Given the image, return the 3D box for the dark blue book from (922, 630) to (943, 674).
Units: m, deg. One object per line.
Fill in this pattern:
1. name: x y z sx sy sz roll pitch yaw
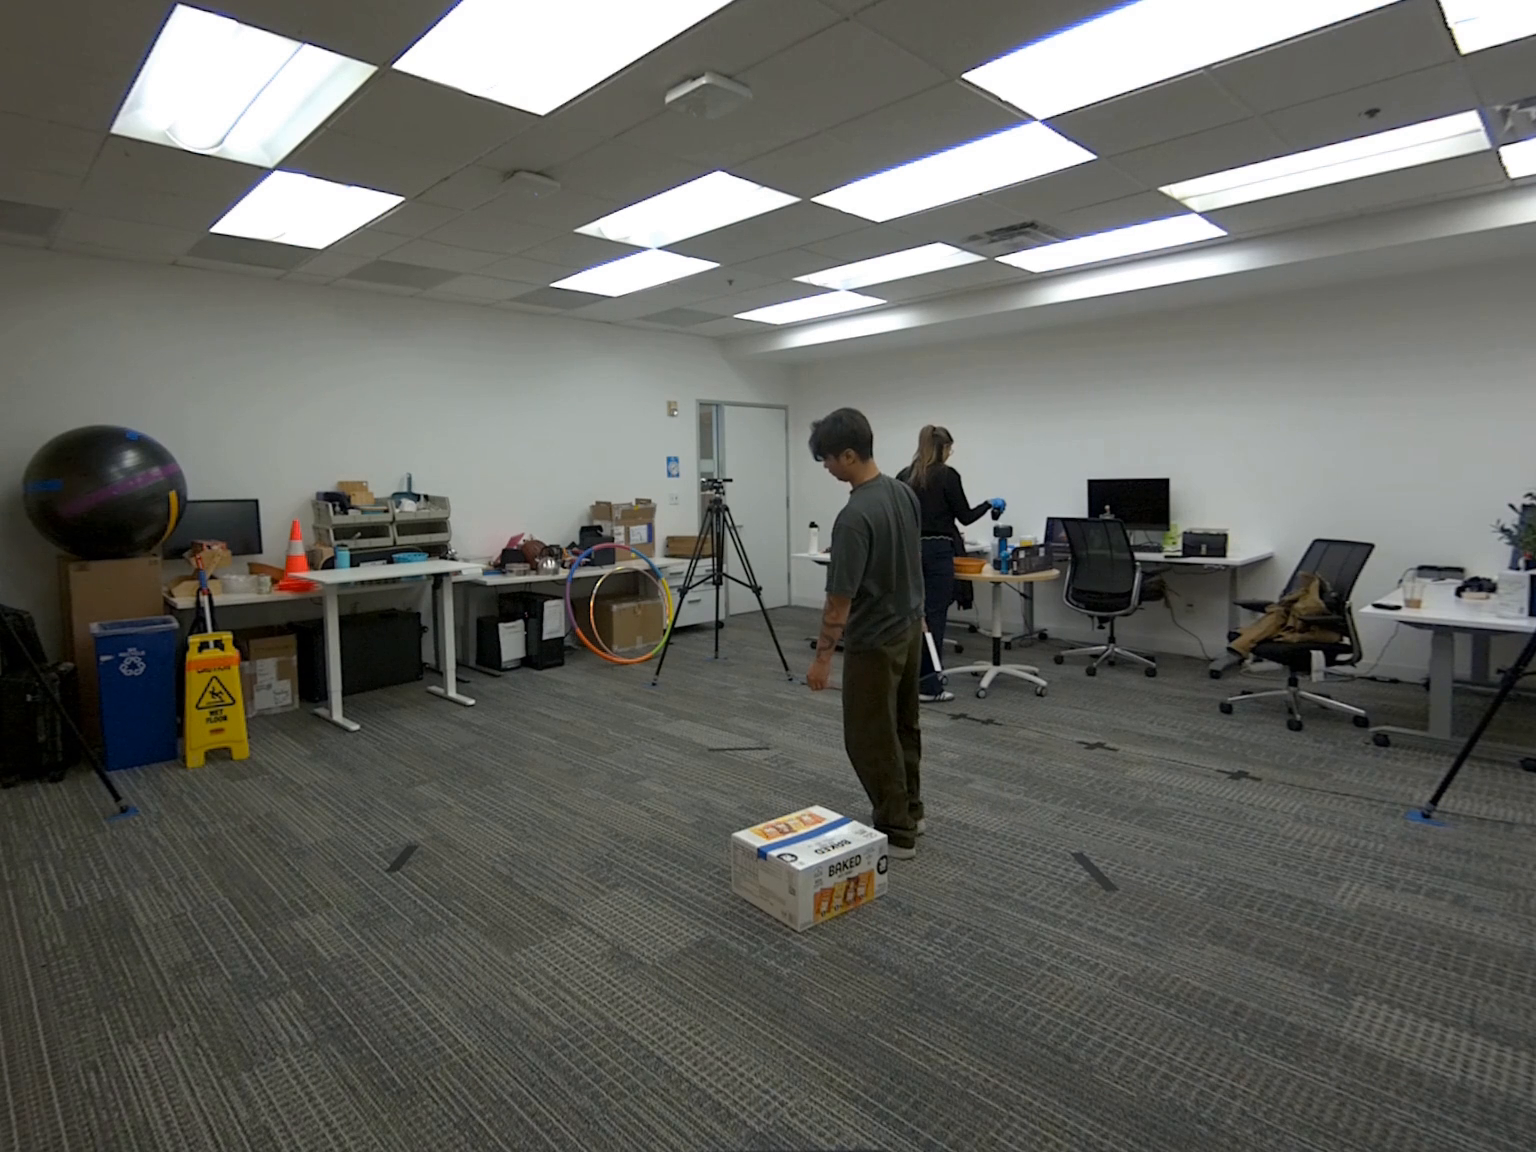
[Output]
1. dark blue book: 0.581 0.338 3.398 0.044 0.167 0.247 7 -28 -35
